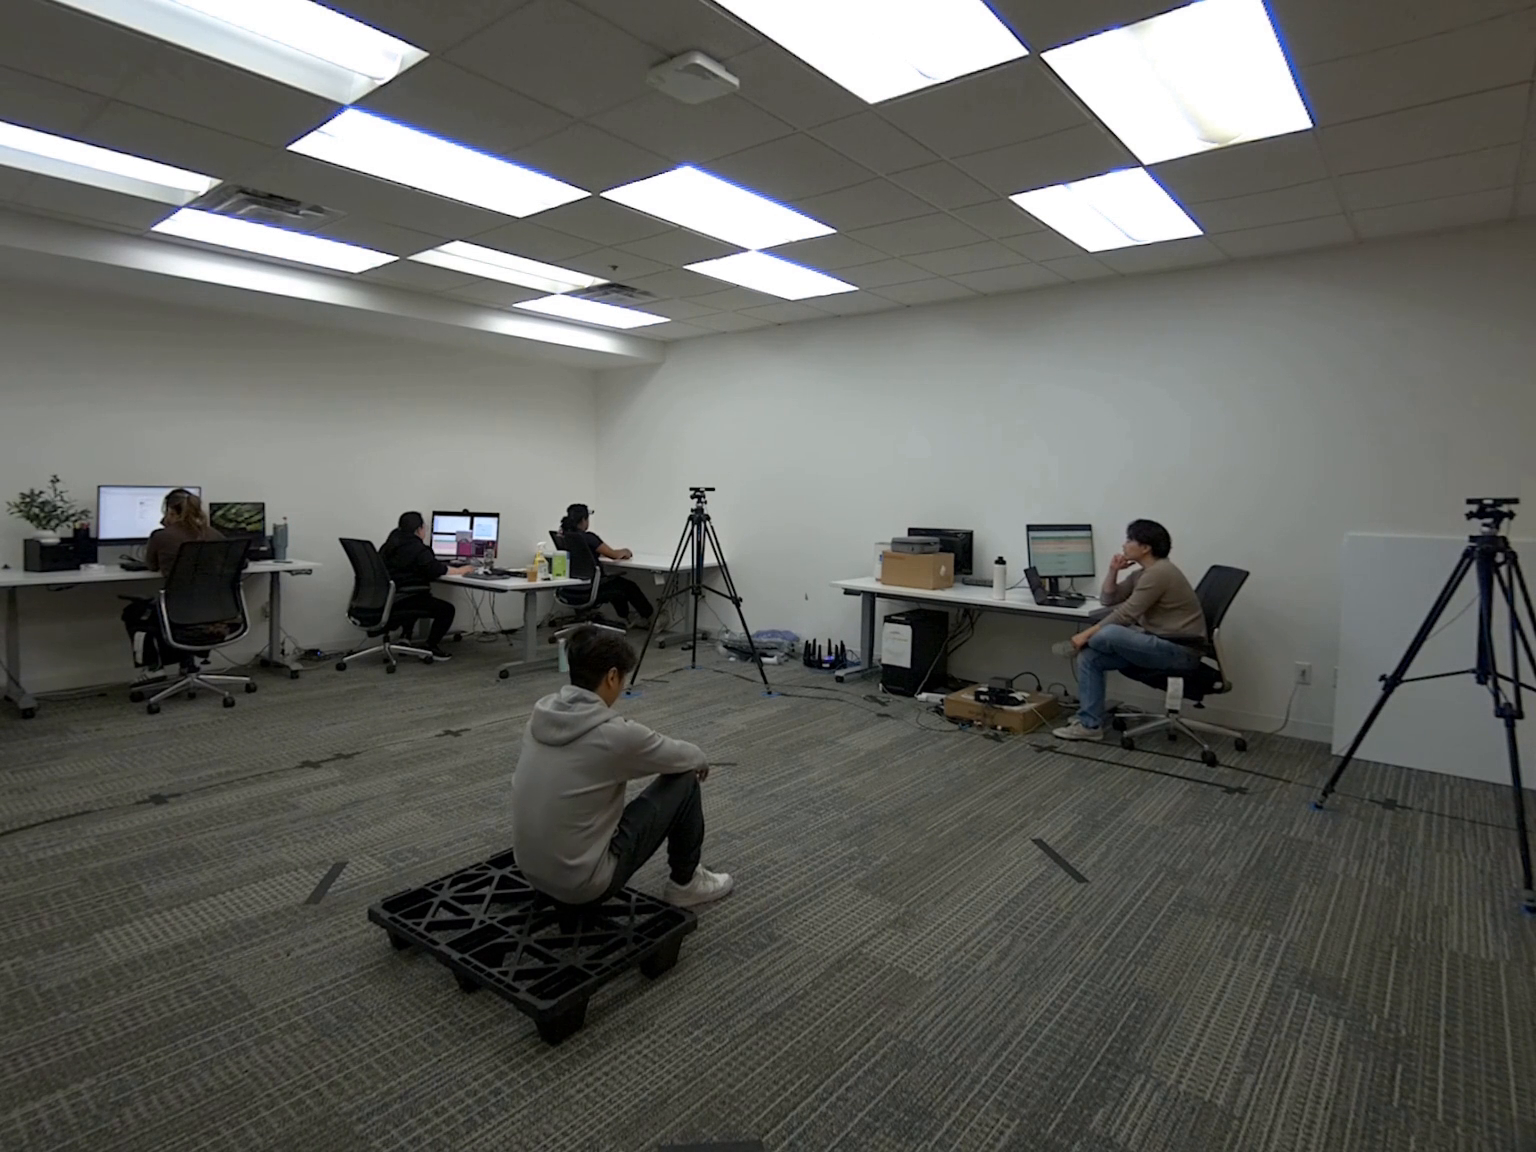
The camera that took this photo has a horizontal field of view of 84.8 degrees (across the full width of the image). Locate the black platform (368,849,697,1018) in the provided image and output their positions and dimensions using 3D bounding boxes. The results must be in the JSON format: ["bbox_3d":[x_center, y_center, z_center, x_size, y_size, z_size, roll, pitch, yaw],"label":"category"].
[{"bbox_3d":[-0.706,1.050,2.518,0.832,0.143,0.588,5,7,36],"label":"black platform"}]
